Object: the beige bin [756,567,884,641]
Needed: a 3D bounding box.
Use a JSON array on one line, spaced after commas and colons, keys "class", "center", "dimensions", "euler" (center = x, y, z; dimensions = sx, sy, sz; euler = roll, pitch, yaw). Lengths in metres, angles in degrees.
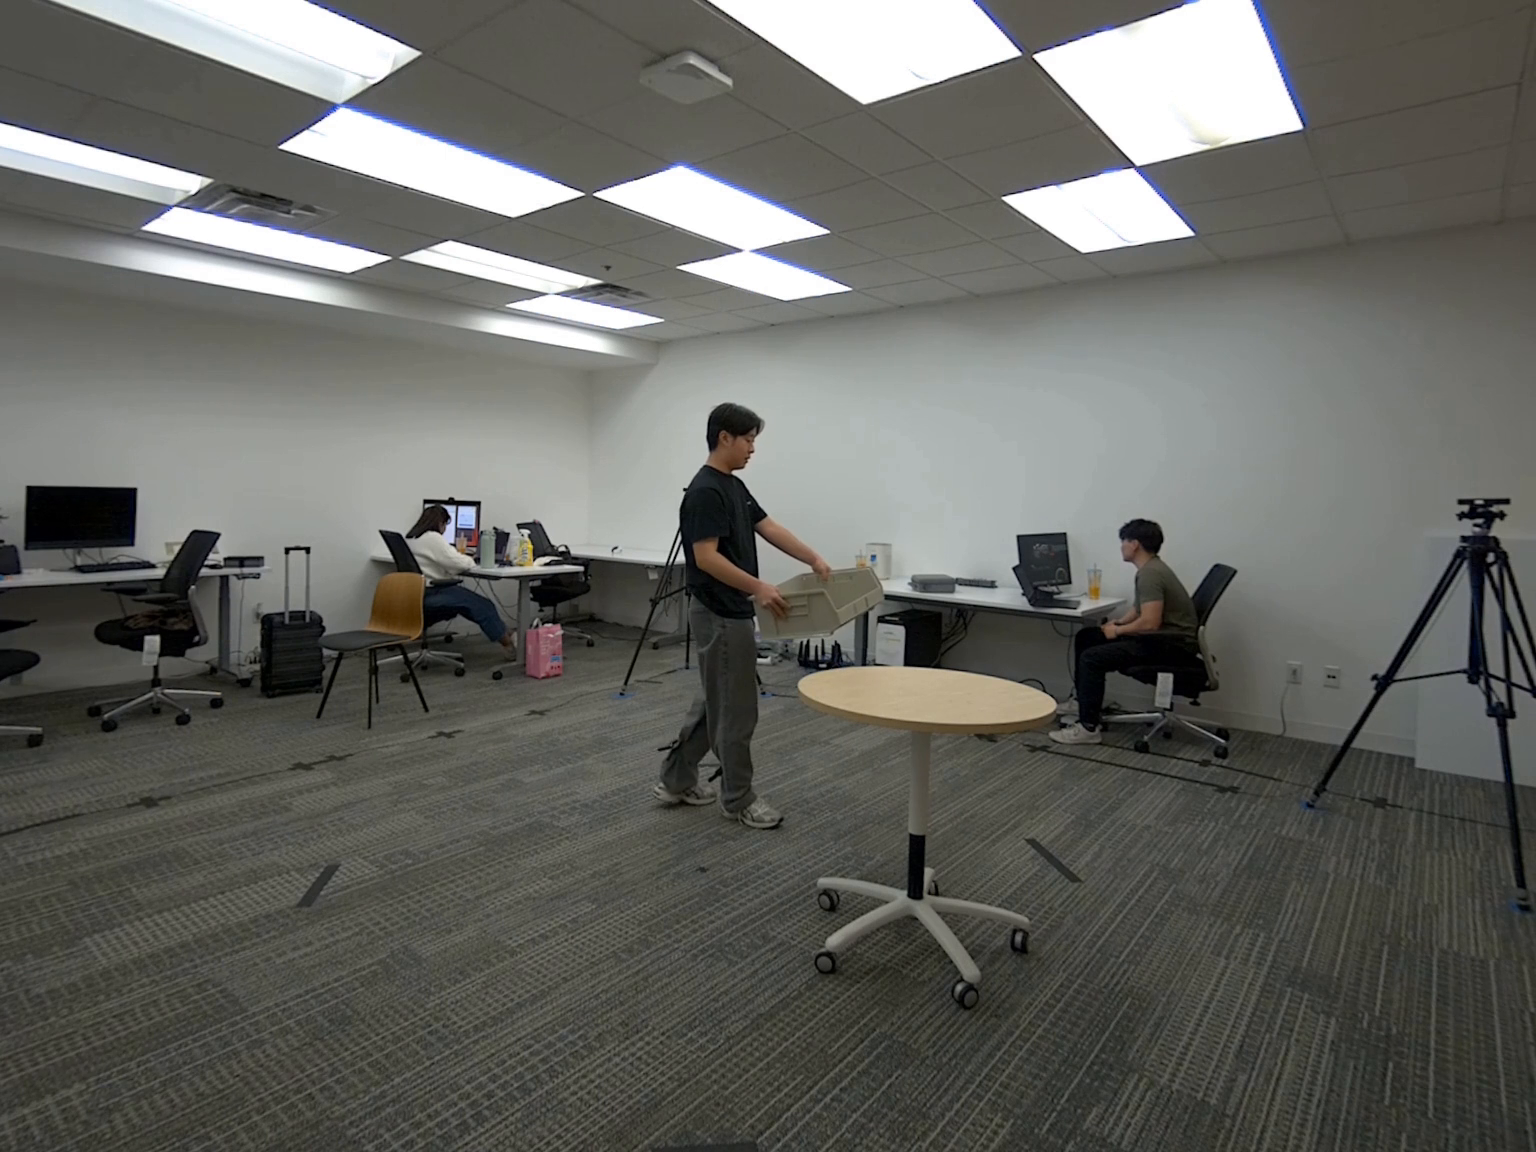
[{"class": "beige bin", "center": [0.194, 0.101, 3.390], "dimensions": [0.387, 0.188, 0.415], "euler": [-9, 9, 34]}]
